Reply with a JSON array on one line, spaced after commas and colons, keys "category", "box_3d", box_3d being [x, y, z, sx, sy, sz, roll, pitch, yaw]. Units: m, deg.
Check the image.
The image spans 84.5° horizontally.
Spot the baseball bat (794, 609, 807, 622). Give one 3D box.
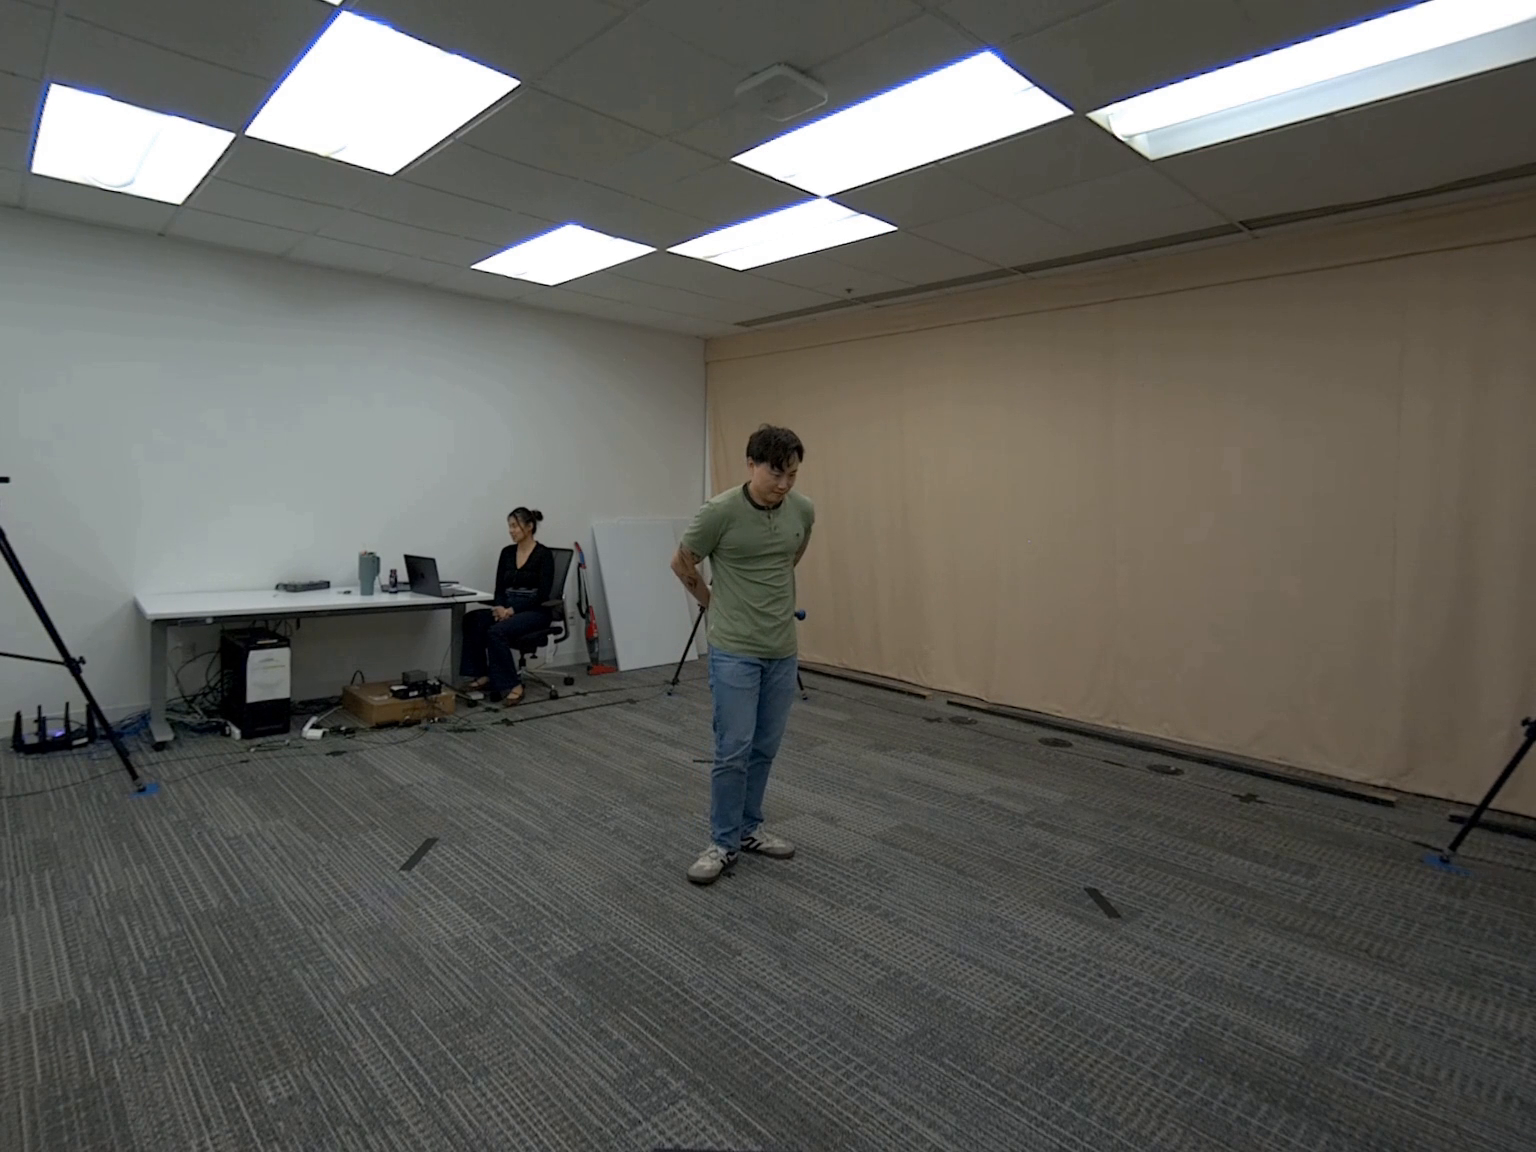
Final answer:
[{"category": "baseball bat", "box_3d": [-0.069, 0.132, 3.544, 0.528, 0.089, 0.091, 15, -5, -34]}]
